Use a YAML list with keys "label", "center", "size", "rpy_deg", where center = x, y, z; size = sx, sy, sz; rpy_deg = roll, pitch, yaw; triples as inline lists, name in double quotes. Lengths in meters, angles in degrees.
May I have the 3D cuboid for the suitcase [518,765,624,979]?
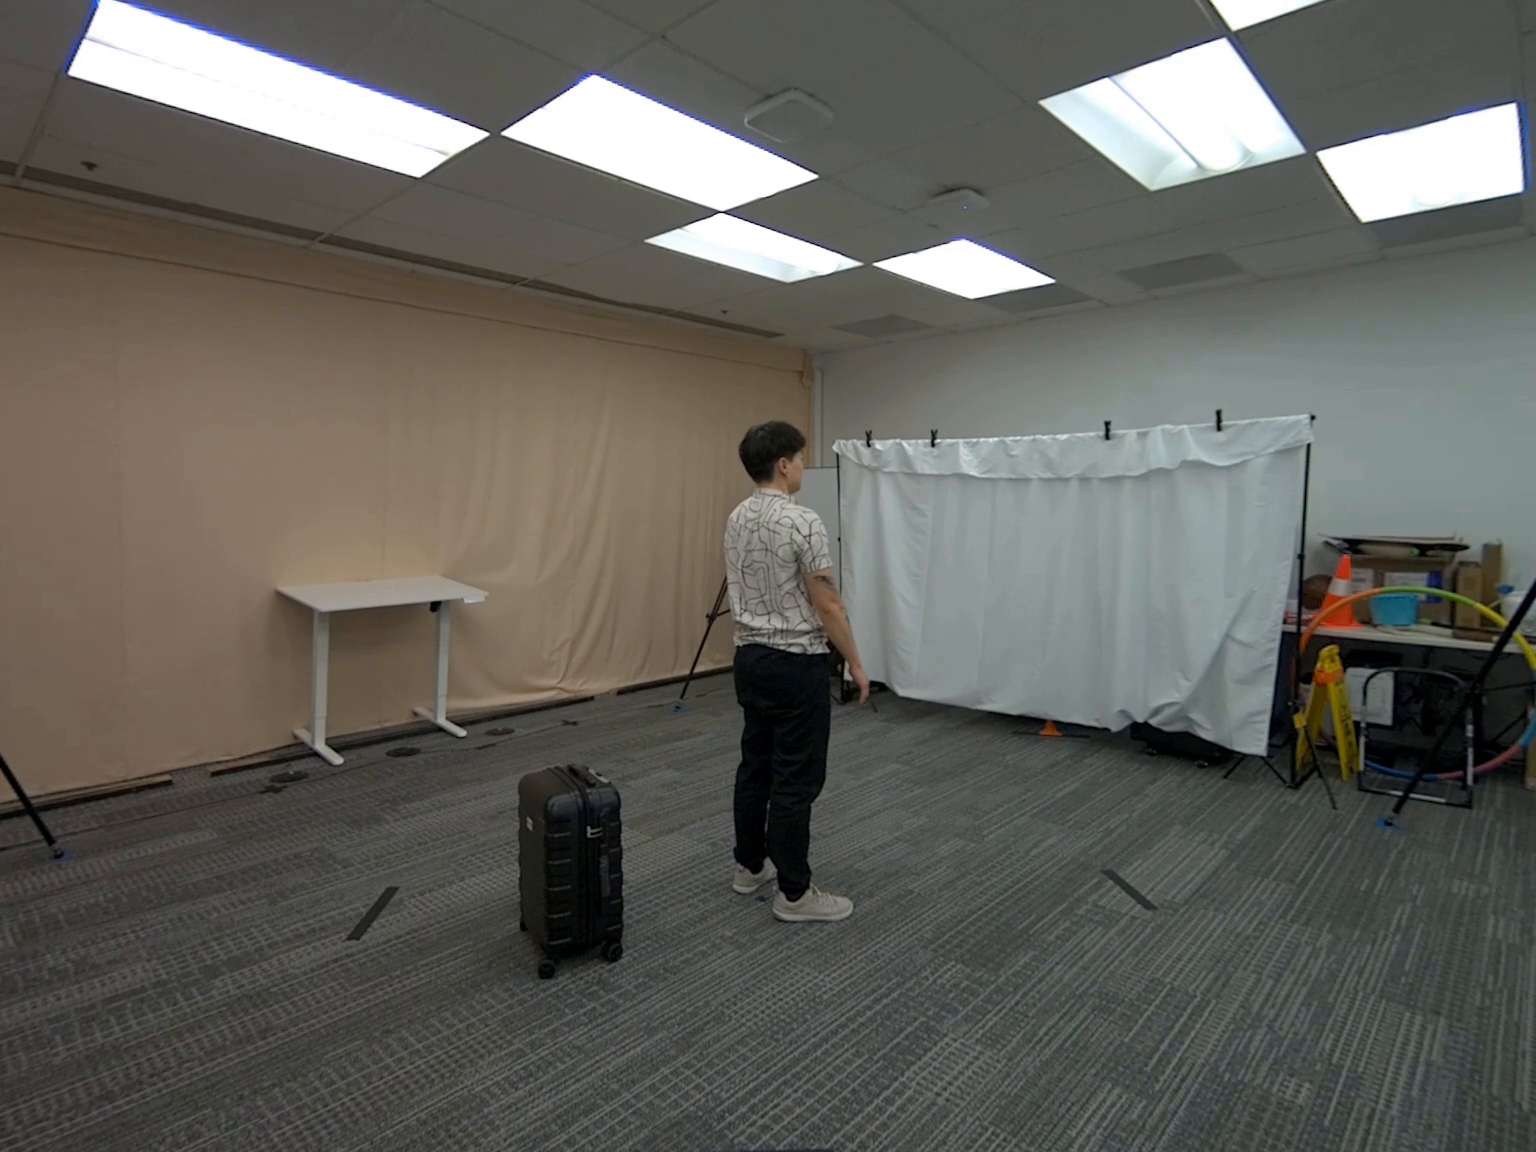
- label: "suitcase"
  center: [-0.634, 0.900, 2.658]
  size: [0.242, 0.548, 0.386]
  rpy_deg: [-1, 4, -30]
